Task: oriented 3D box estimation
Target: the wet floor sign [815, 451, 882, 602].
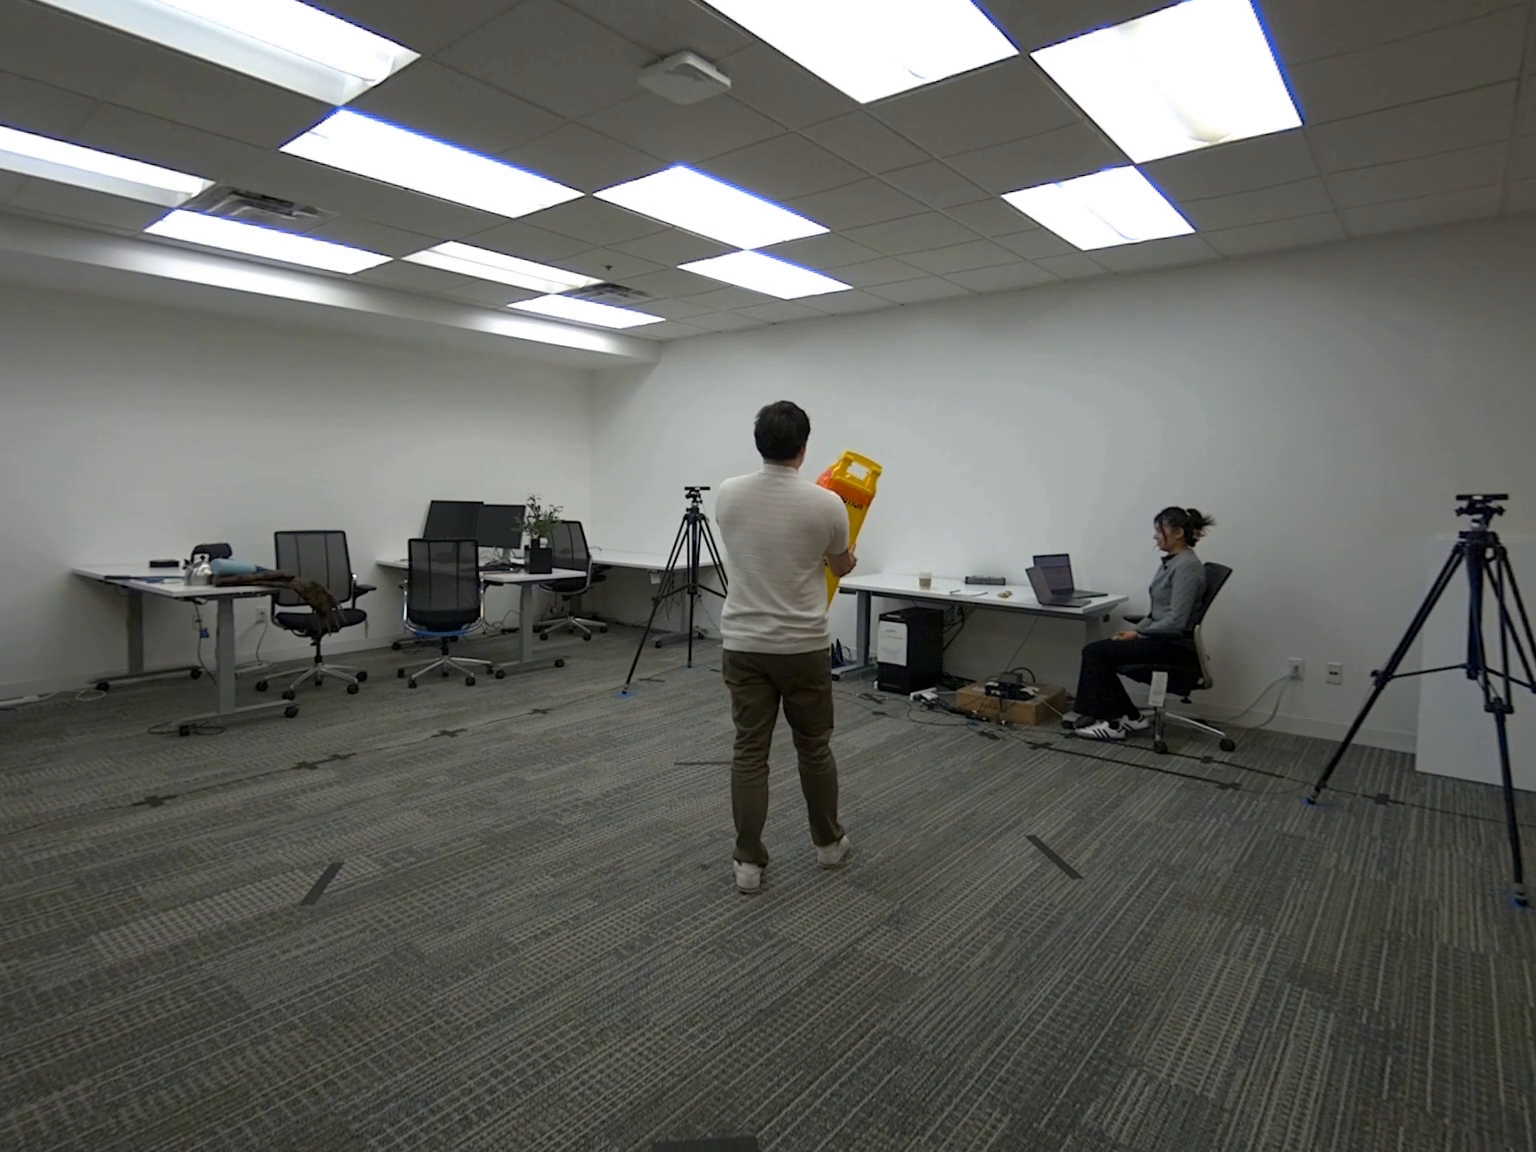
[{"bbox_3d":[0.219,-0.209,3.438,0.273,0.643,0.301,21,20,-30],"label":"wet floor sign"}]
